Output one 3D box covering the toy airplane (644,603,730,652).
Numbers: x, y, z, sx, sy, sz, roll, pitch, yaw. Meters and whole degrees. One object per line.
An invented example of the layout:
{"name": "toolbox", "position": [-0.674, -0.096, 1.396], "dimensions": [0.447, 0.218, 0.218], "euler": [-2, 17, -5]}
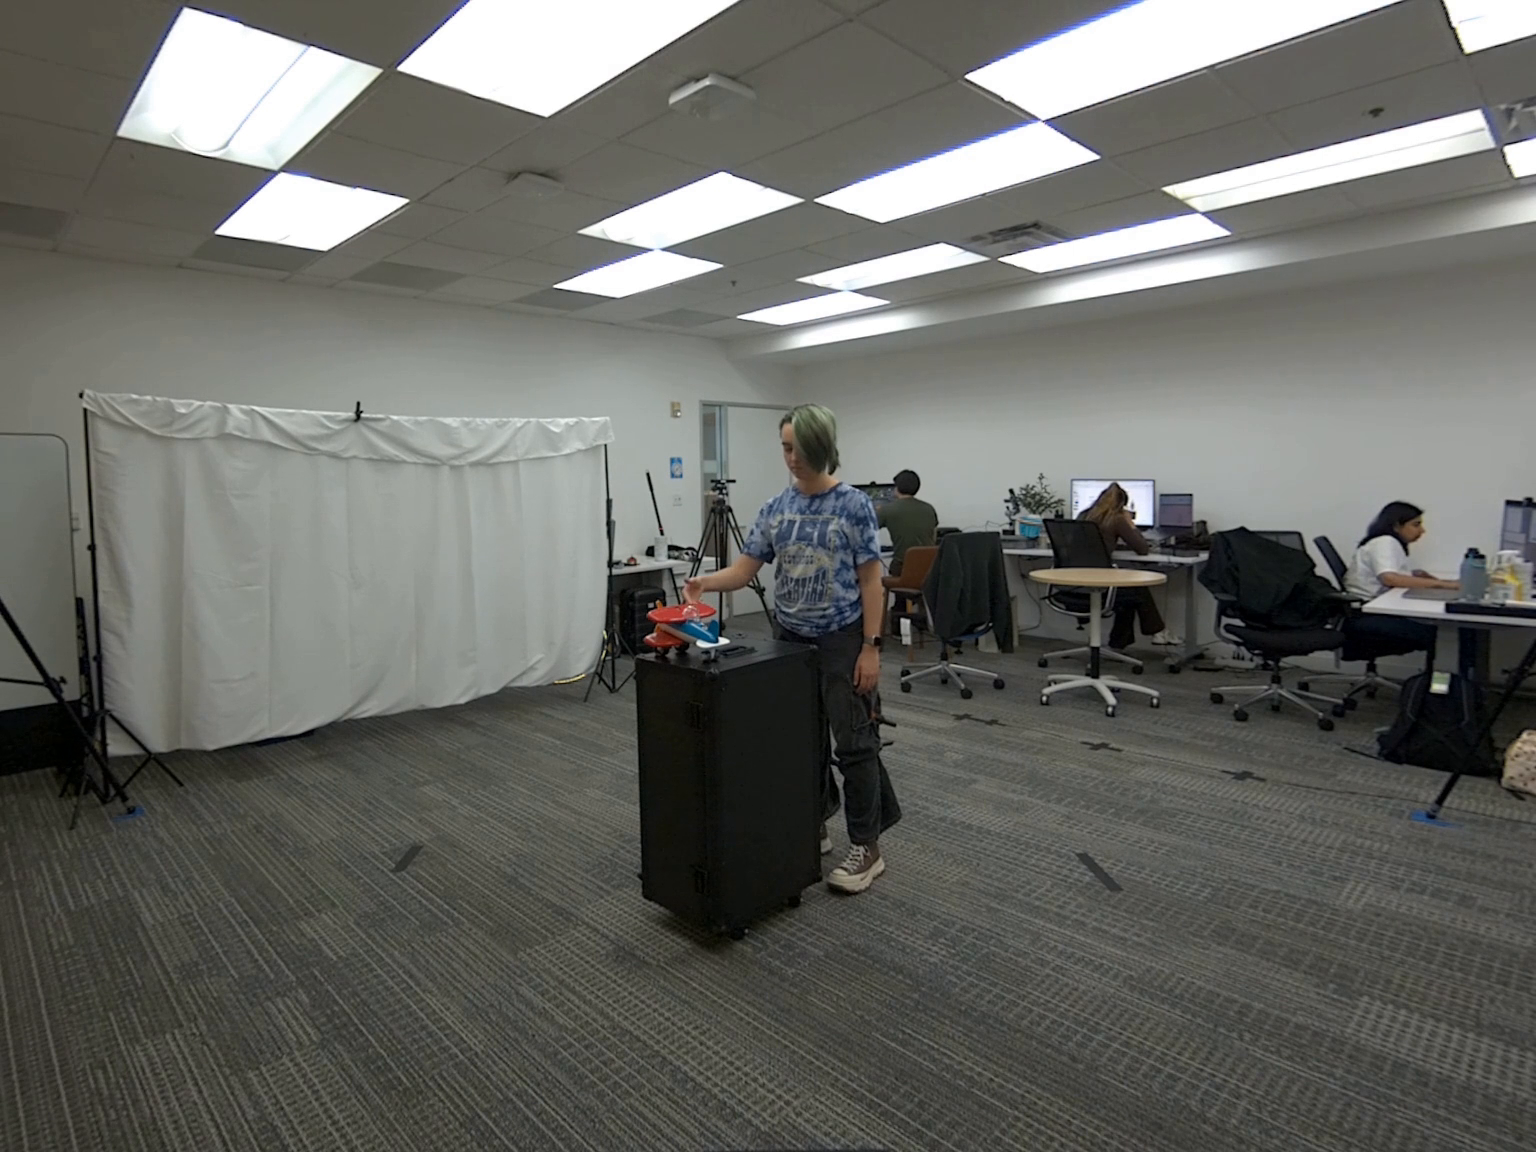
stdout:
{"name": "toy airplane", "position": [-0.221, 0.177, 2.667], "dimensions": [0.263, 0.156, 0.248], "euler": [0, 4, 15]}
